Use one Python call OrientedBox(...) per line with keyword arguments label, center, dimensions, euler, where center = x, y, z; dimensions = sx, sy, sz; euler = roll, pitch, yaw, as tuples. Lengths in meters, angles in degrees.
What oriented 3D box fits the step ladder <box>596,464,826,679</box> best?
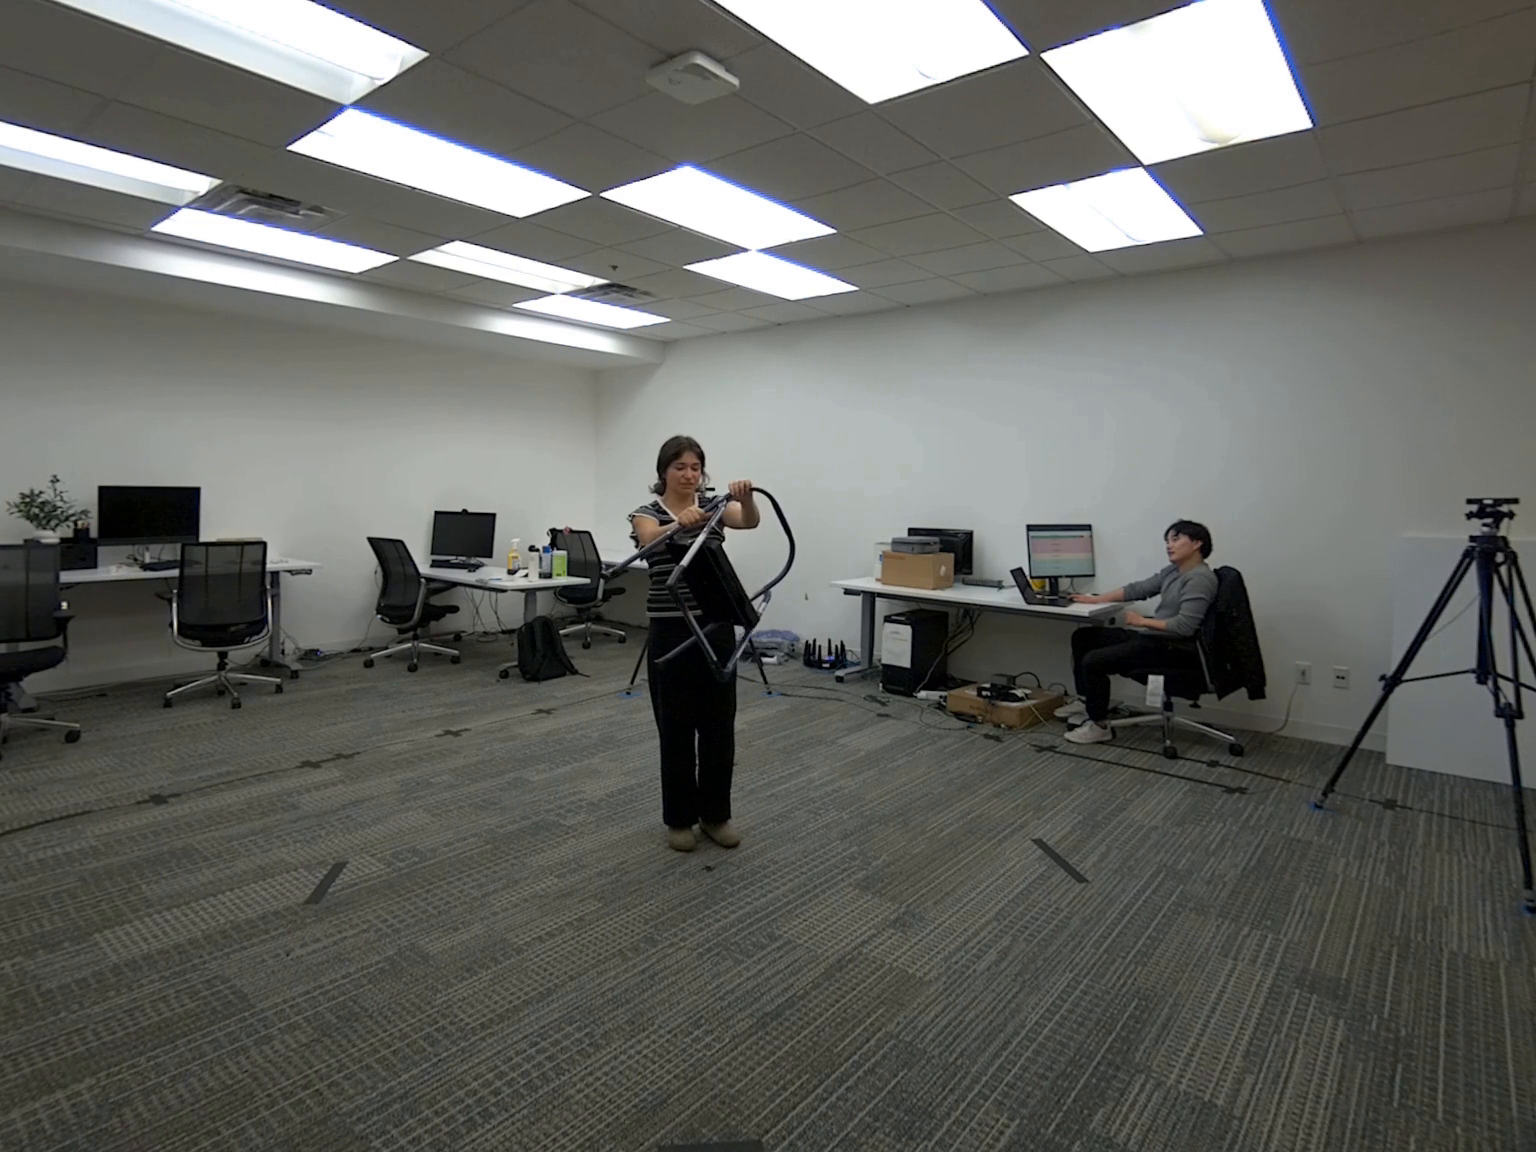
OrientedBox(label="step ladder", center=(-0.183, -0.027, 2.893), dimensions=(0.361, 0.417, 0.606), euler=(3, 42, 47))
